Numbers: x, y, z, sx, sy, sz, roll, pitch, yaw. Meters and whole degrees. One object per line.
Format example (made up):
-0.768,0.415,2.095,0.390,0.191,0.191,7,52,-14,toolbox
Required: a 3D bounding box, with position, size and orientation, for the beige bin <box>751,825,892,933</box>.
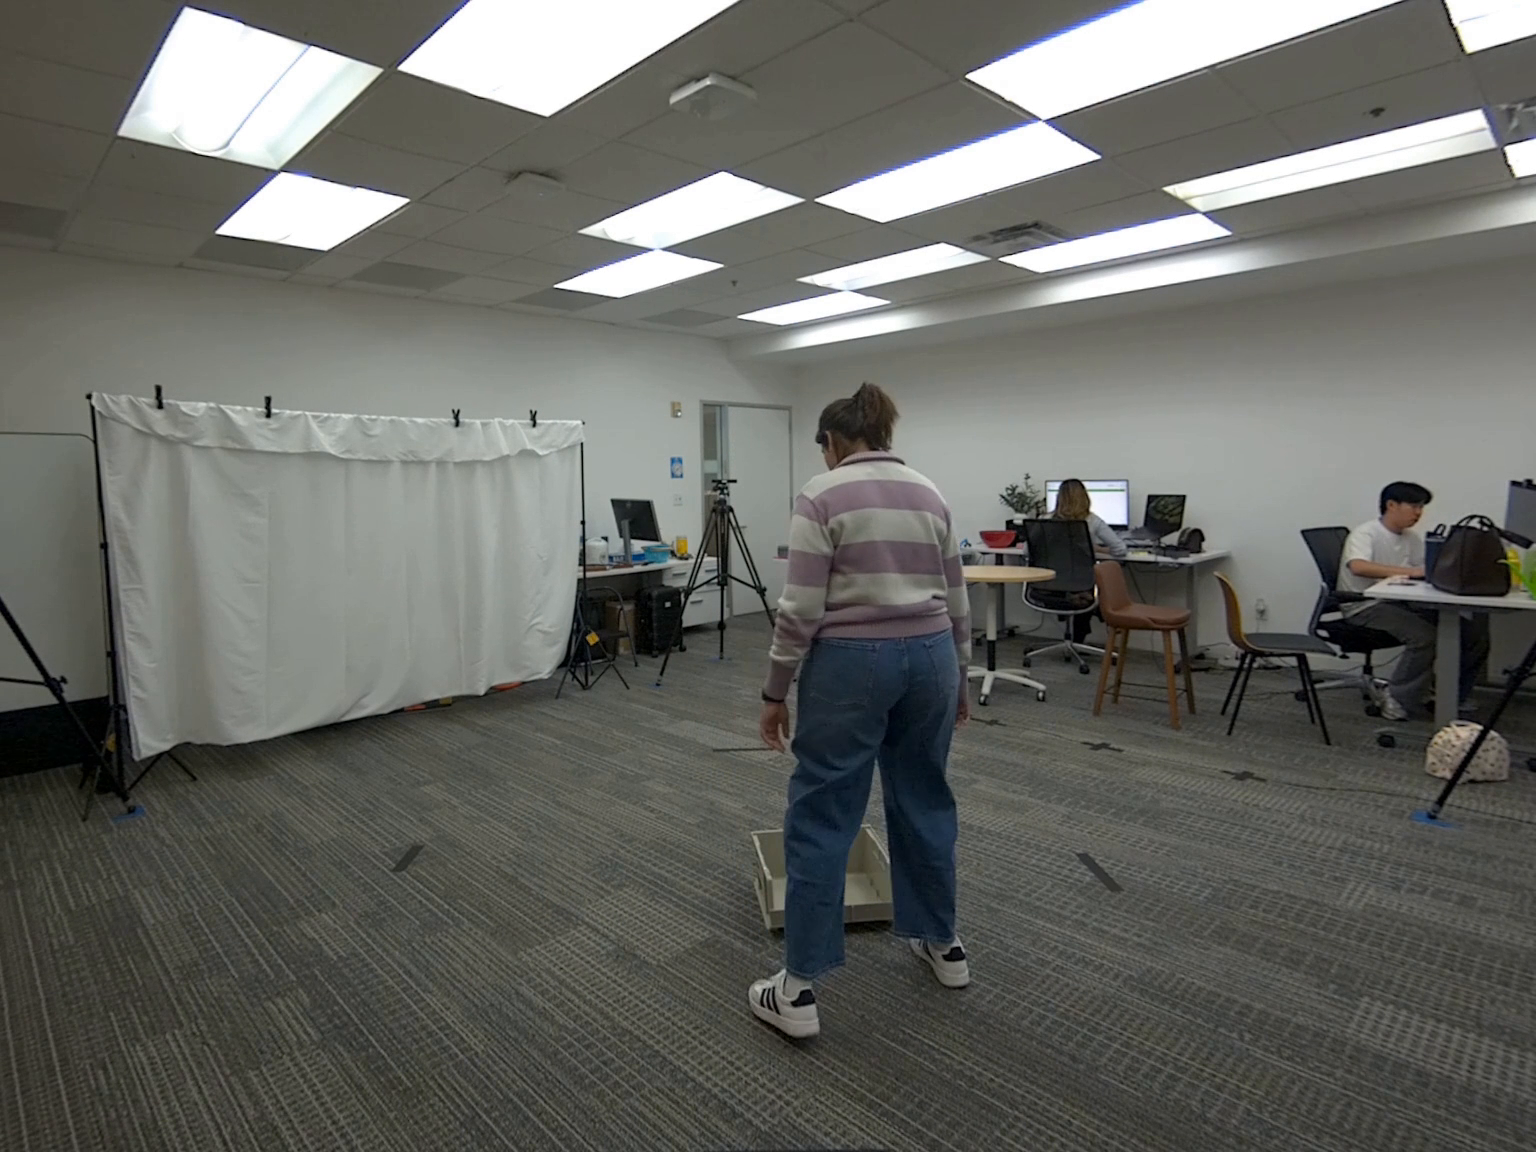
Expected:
0.185,0.990,2.789,0.420,0.188,0.381,-3,6,-7,beige bin
